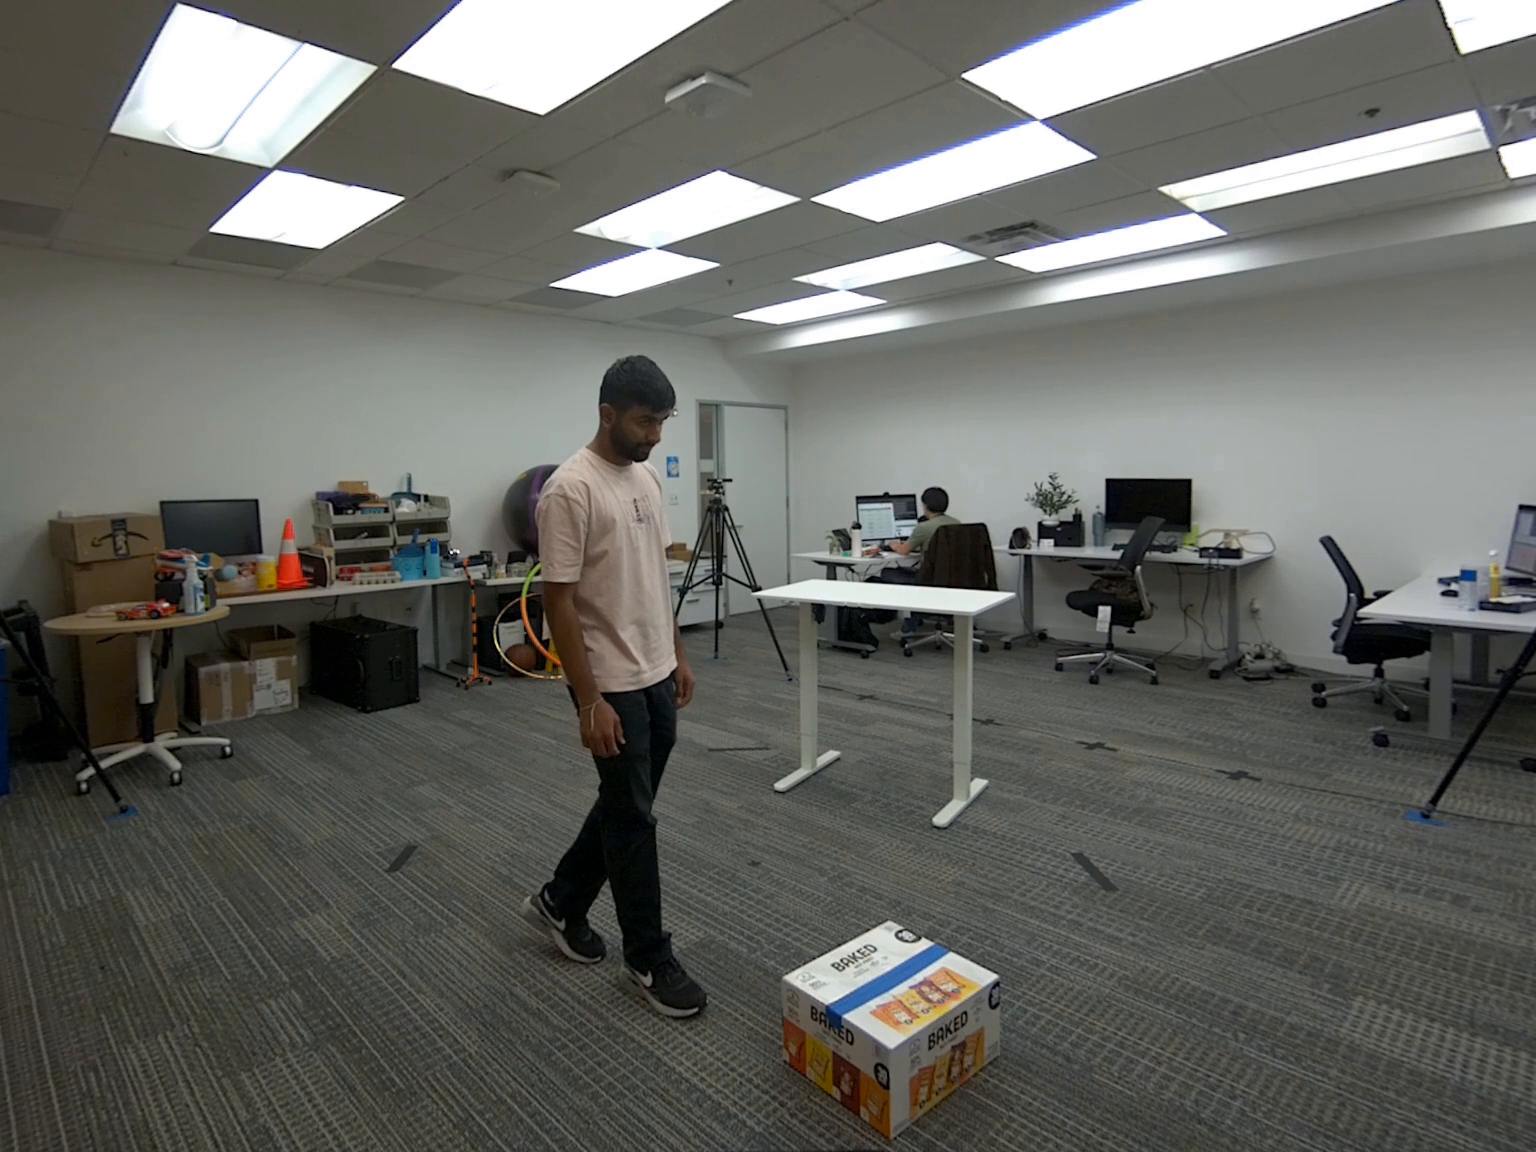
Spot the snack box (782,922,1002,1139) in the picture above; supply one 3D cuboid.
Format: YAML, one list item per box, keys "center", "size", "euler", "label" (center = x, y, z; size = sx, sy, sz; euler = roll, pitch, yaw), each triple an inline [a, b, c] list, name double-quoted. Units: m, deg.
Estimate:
- center: [0.305, 1.066, 2.043]
  size: [0.395, 0.205, 0.351]
  euler: [-6, 8, -40]
  label: "snack box"
